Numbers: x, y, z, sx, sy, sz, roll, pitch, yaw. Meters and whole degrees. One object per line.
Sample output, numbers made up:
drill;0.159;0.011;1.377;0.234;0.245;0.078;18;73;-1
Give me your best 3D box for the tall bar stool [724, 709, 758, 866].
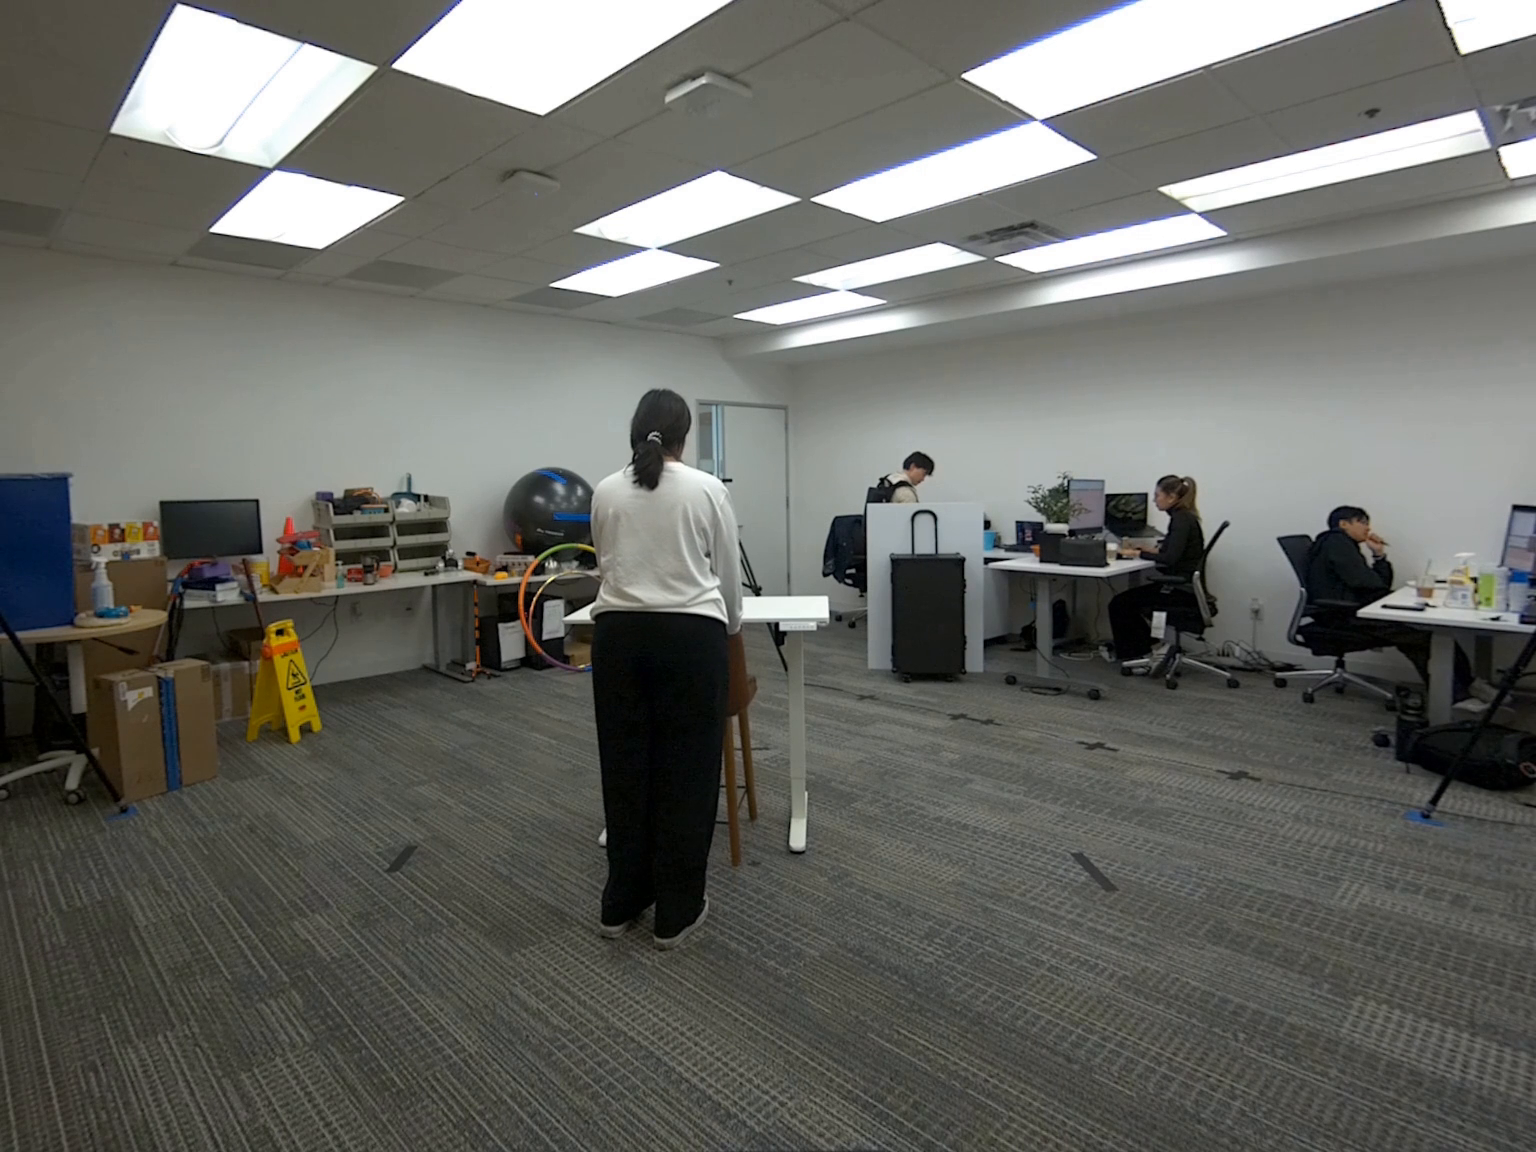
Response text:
tall bar stool;-0.283;0.598;3.302;0.460;0.885;0.466;0;5;8
